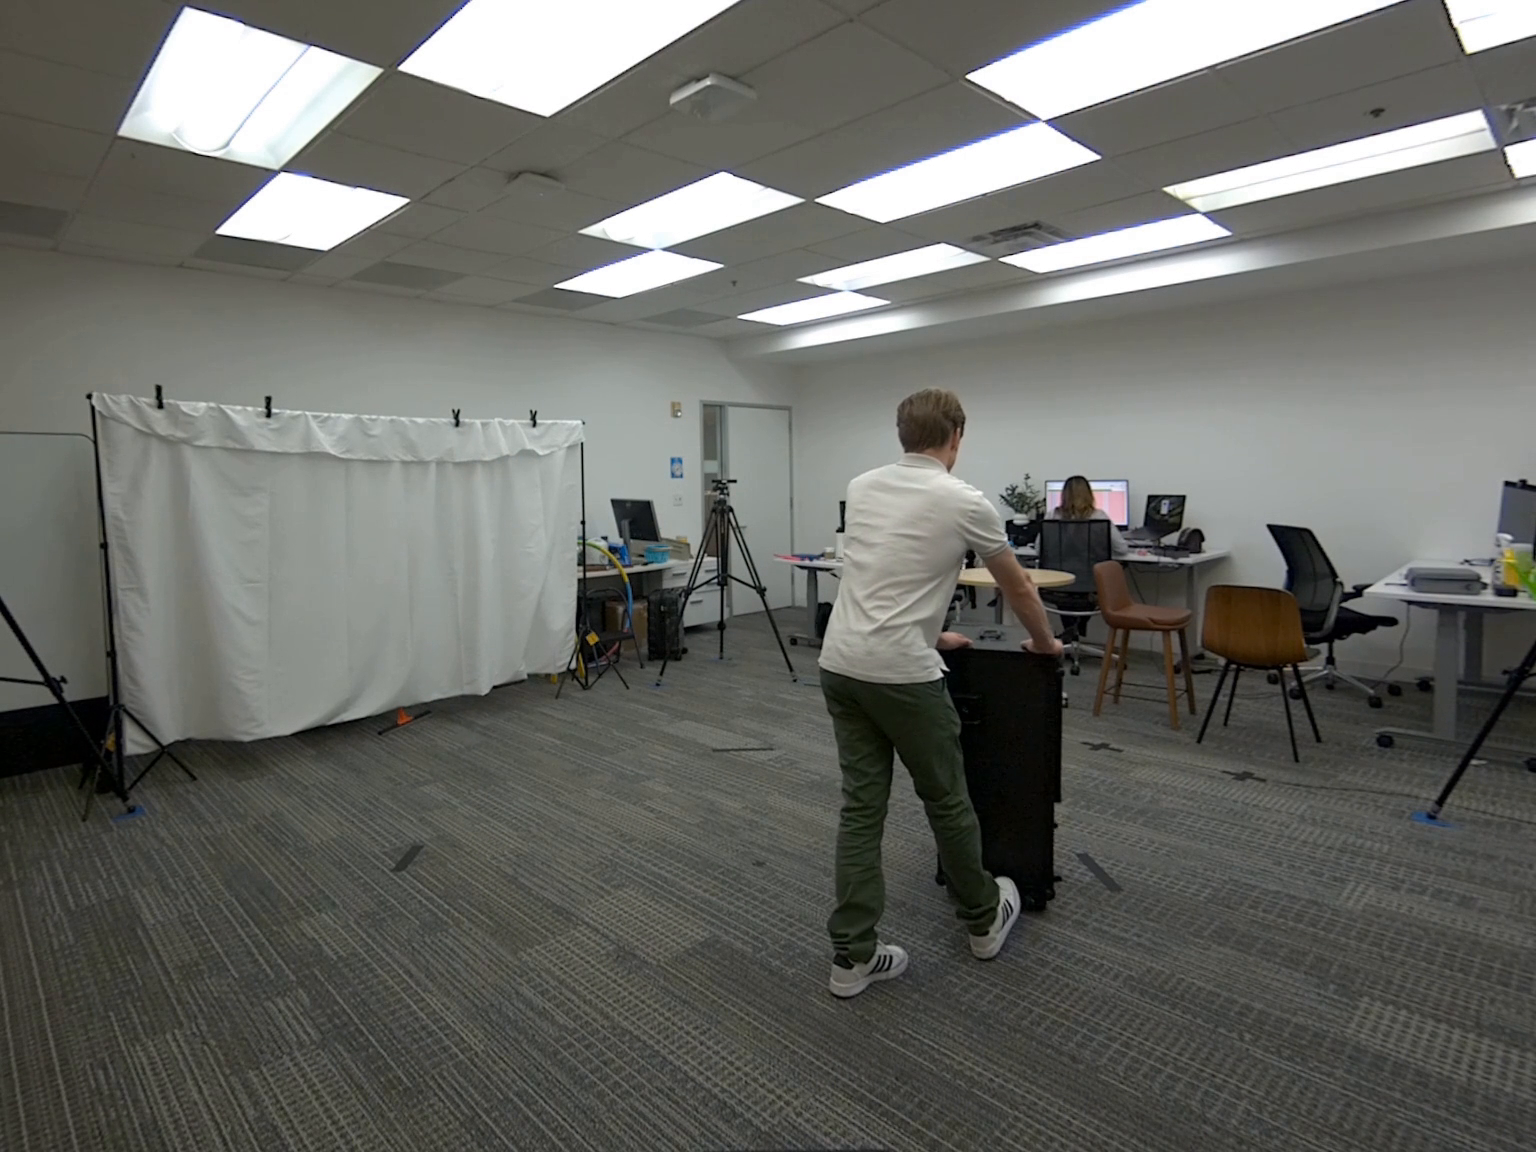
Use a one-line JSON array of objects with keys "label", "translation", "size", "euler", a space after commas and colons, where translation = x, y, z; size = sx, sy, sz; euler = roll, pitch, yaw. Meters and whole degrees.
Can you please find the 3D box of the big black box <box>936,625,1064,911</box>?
[{"label": "big black box", "translation": [0.796, 0.627, 2.924], "size": [0.392, 0.865, 0.516], "euler": [1, 5, 18]}]
